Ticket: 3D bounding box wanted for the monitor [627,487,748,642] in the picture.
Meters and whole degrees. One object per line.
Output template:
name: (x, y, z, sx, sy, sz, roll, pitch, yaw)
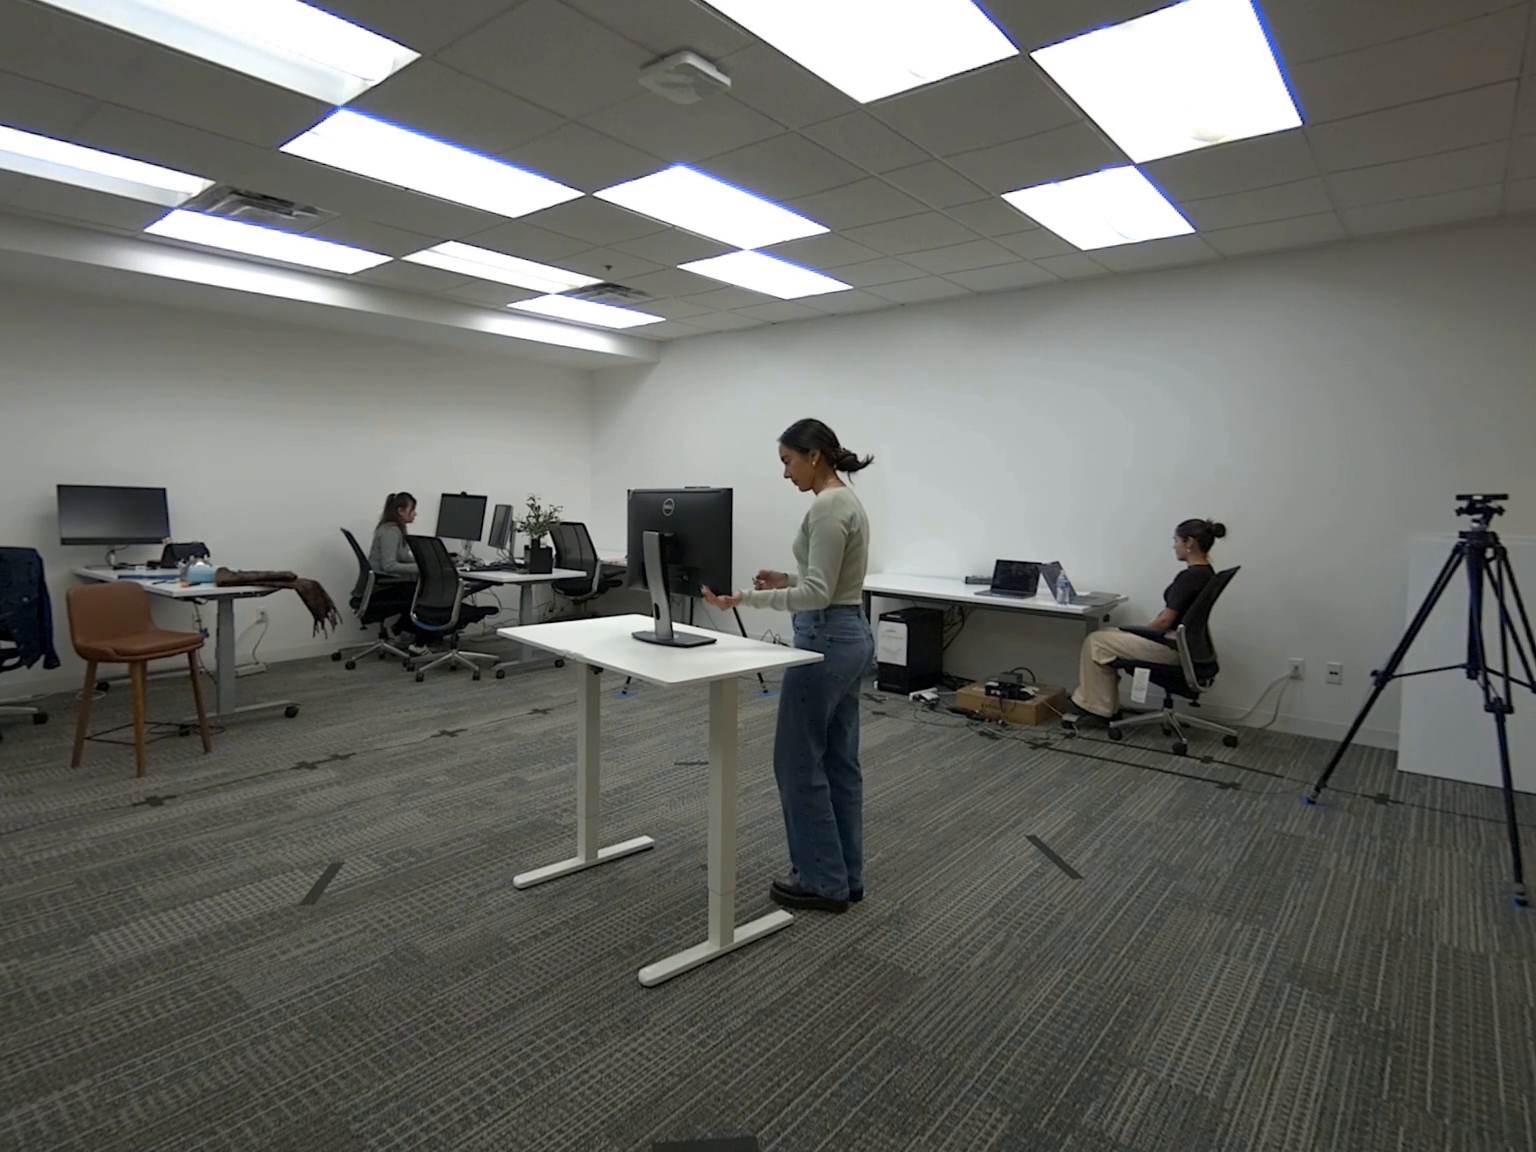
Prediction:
monitor: (-0.332, -0.031, 2.798, 0.557, 0.523, 0.181, 3, -1, 44)
